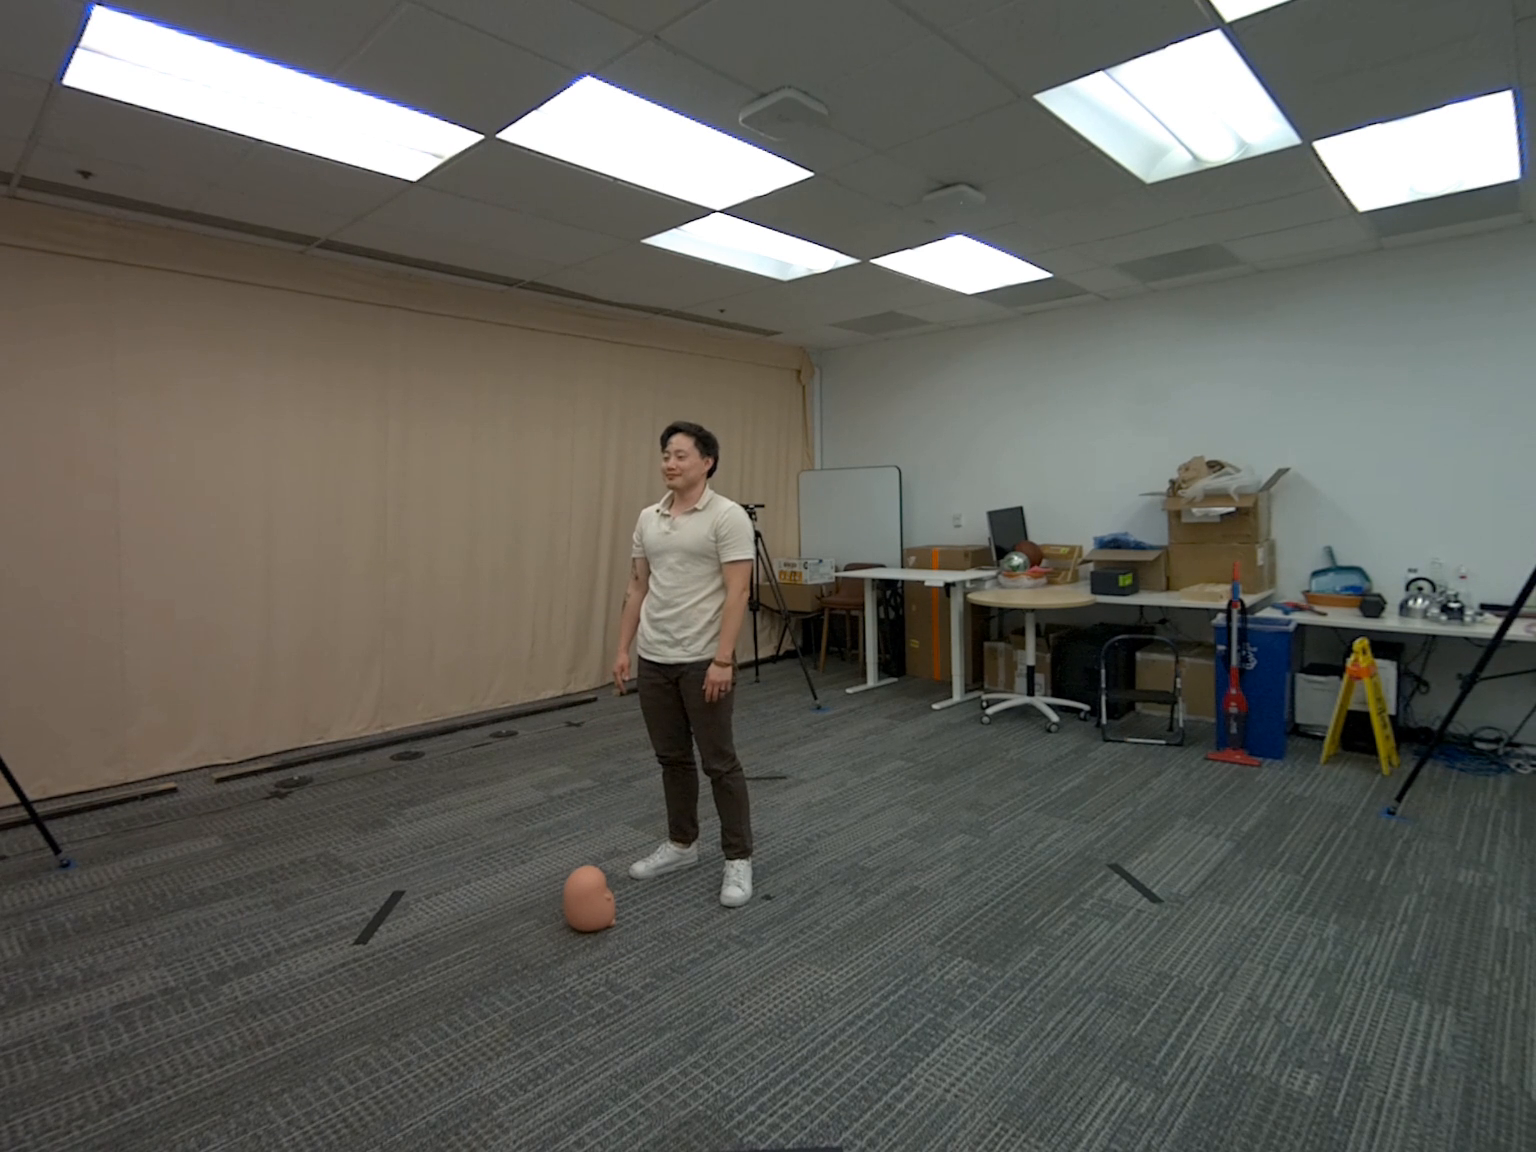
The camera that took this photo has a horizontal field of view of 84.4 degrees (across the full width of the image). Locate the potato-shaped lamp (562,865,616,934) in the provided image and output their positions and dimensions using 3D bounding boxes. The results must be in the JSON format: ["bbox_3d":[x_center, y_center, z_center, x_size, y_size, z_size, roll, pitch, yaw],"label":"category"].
[{"bbox_3d":[-0.598,1.069,2.803,0.167,0.198,0.169,-5,4,-26],"label":"potato-shaped lamp"}]
